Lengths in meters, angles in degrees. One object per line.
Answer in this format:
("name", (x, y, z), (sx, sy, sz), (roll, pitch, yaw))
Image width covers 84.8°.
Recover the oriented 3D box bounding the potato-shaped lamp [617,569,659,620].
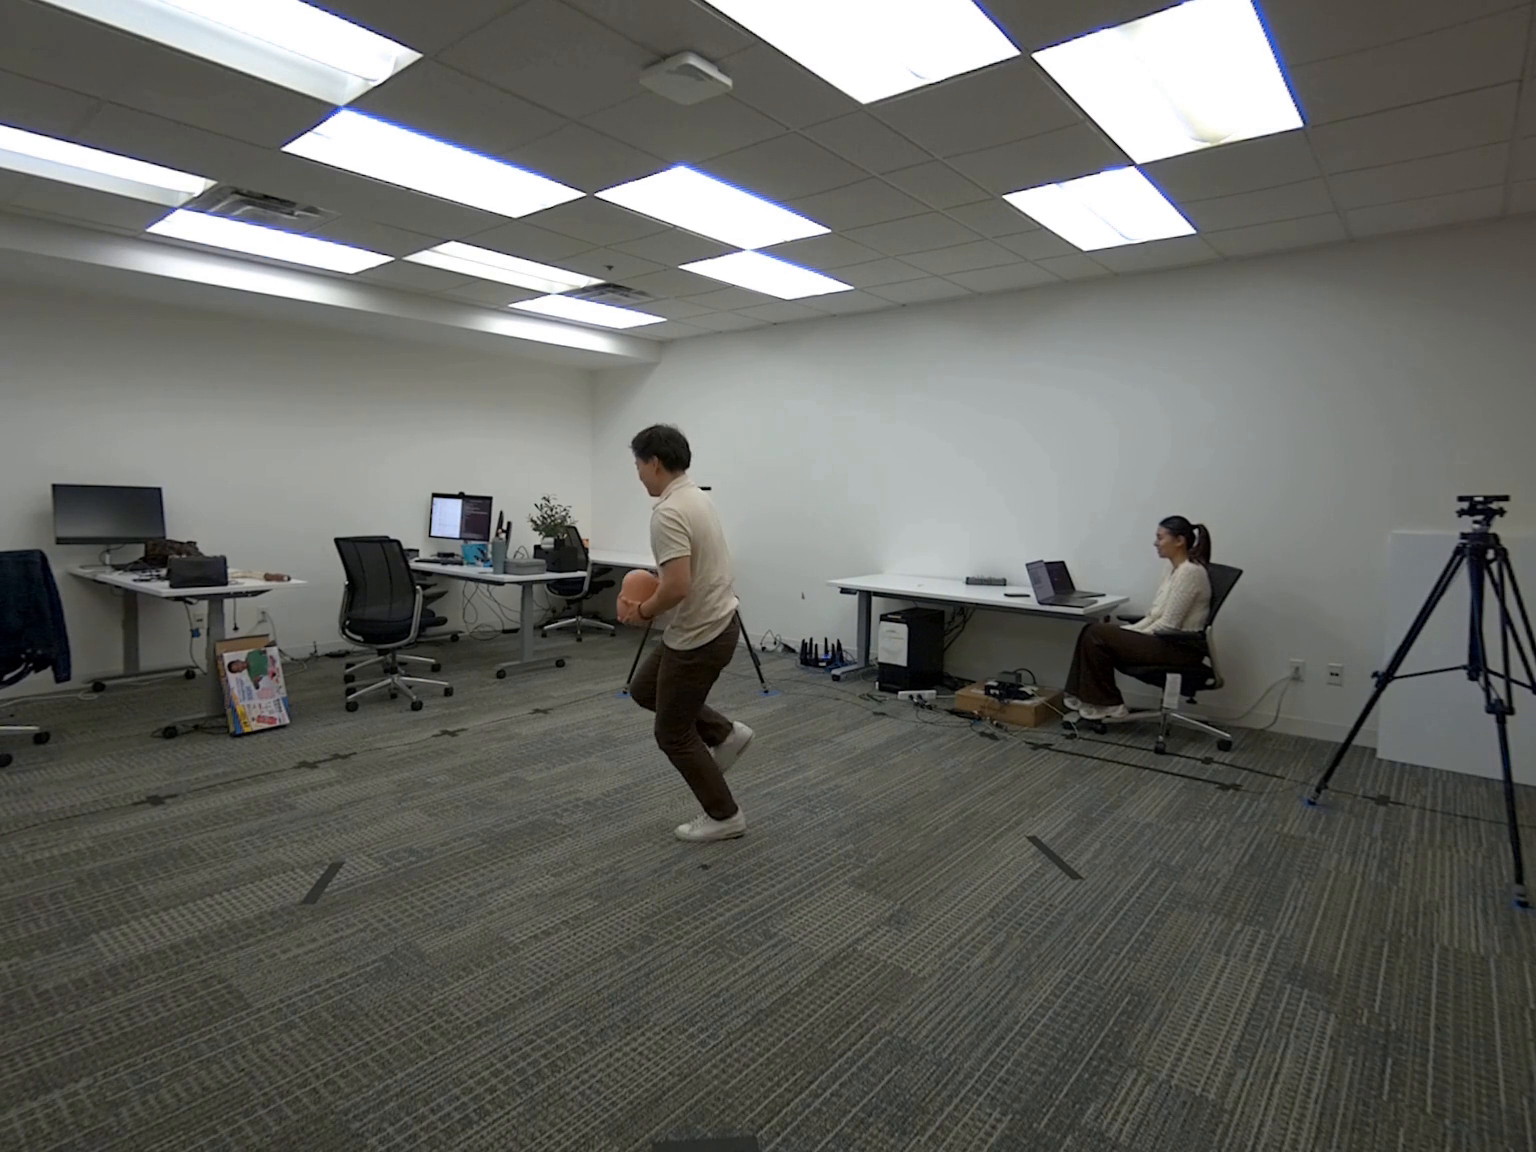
("potato-shaped lamp", (-0.517, 0.034, 3.327), (0.174, 0.197, 0.162), (-1, 3, 16))
